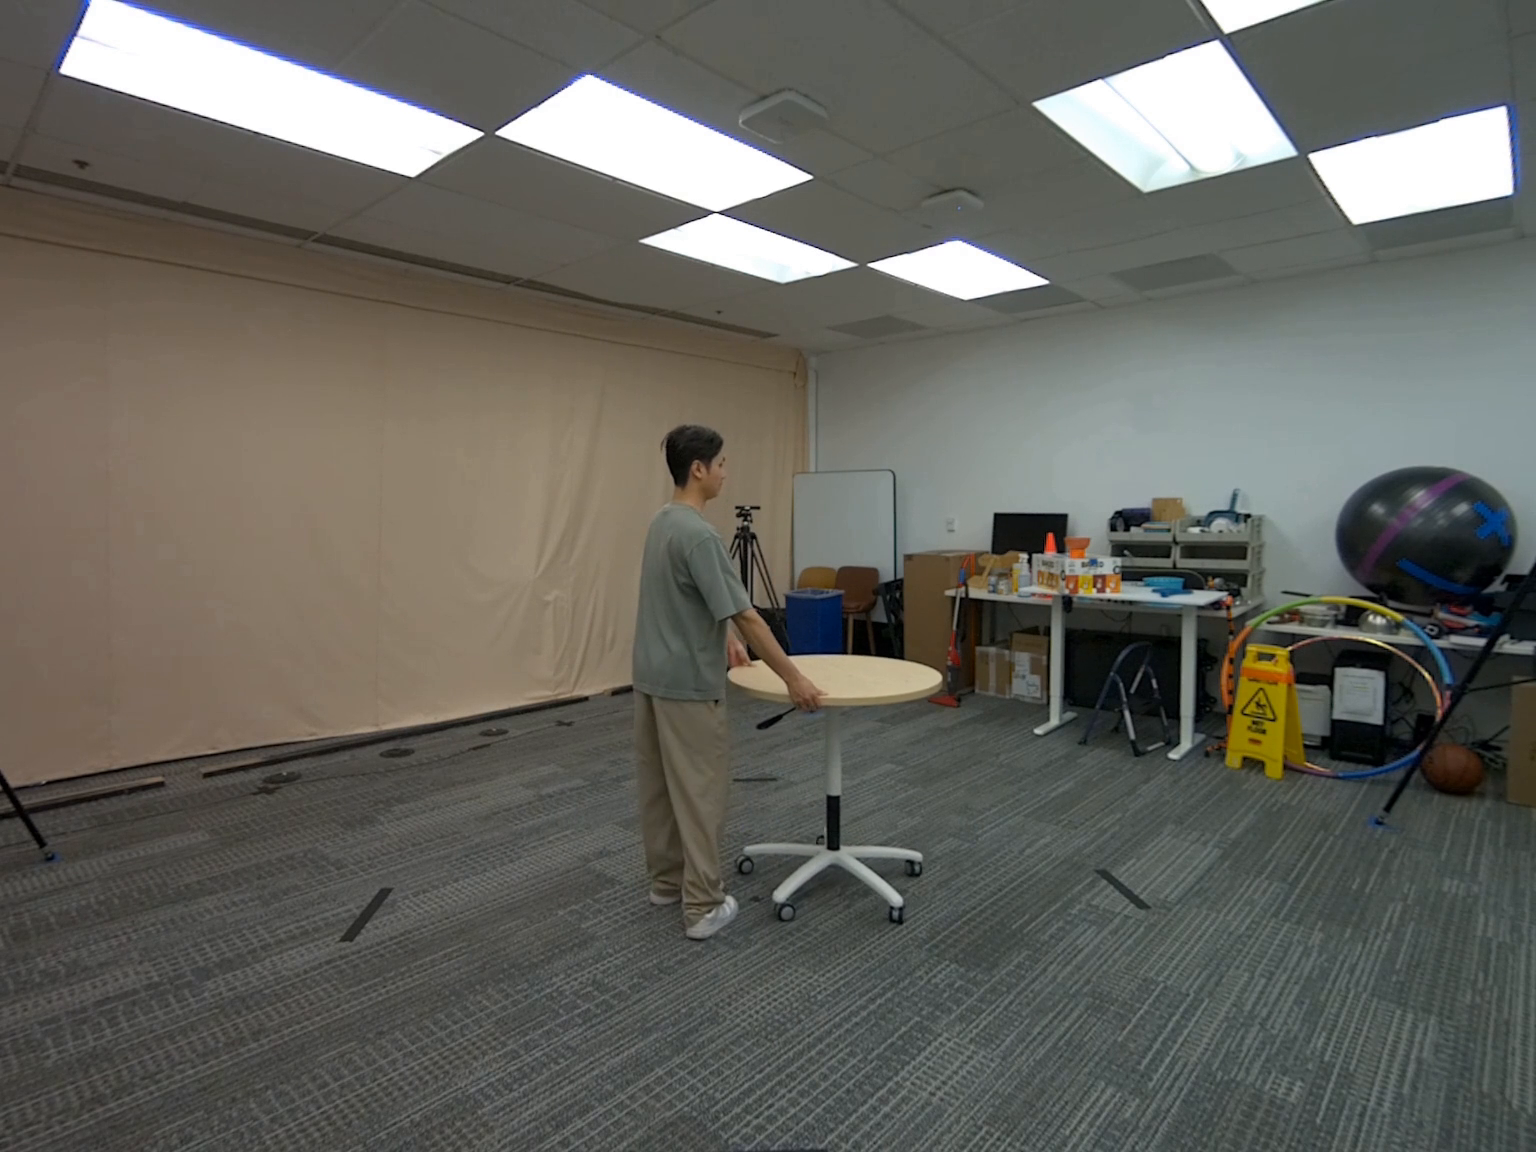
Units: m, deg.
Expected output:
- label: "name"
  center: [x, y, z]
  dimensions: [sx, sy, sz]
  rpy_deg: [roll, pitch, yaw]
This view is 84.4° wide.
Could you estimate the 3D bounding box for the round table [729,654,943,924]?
- label: "round table"
  center: [0.256, 0.743, 3.063]
  dimensions: [0.784, 0.785, 0.788]
  rpy_deg: [-1, 4, -2]
